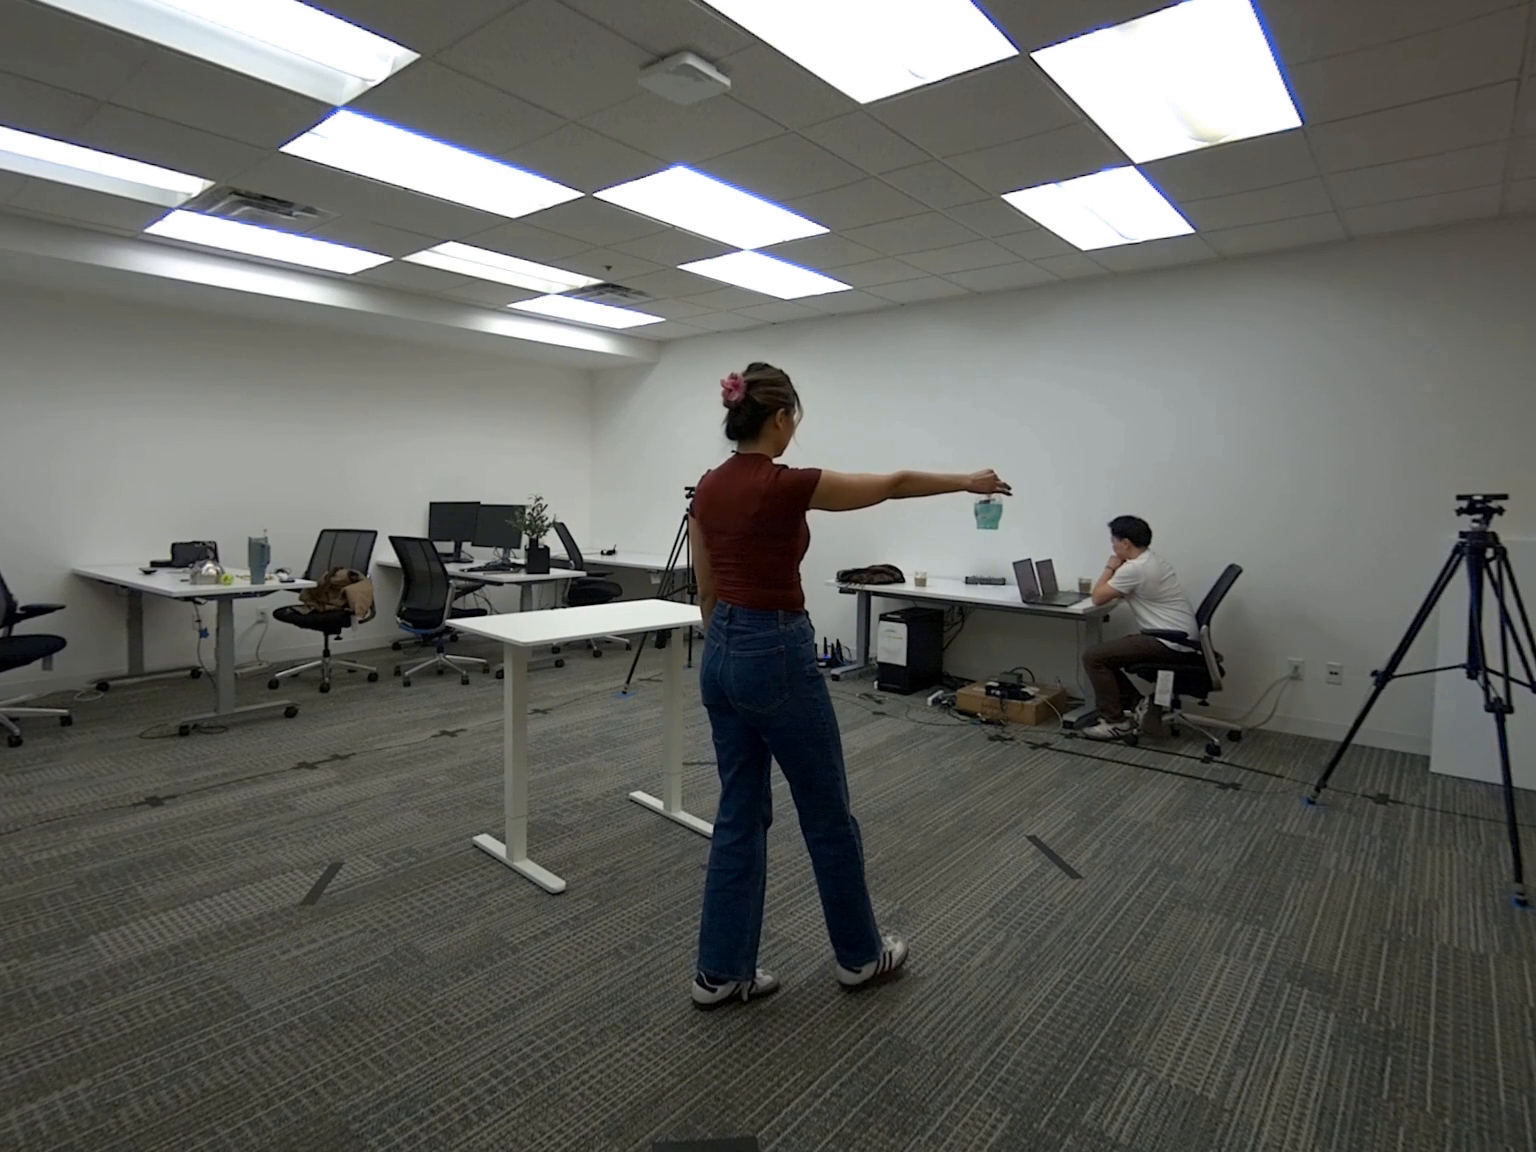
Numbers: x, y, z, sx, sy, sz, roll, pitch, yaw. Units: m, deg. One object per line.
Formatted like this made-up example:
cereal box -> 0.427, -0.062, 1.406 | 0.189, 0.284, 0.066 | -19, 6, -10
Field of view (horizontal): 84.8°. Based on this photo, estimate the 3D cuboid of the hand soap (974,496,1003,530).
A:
hand soap -> 0.644, -0.222, 2.472 | 0.042, 0.168, 0.087 | 5, -3, -41
